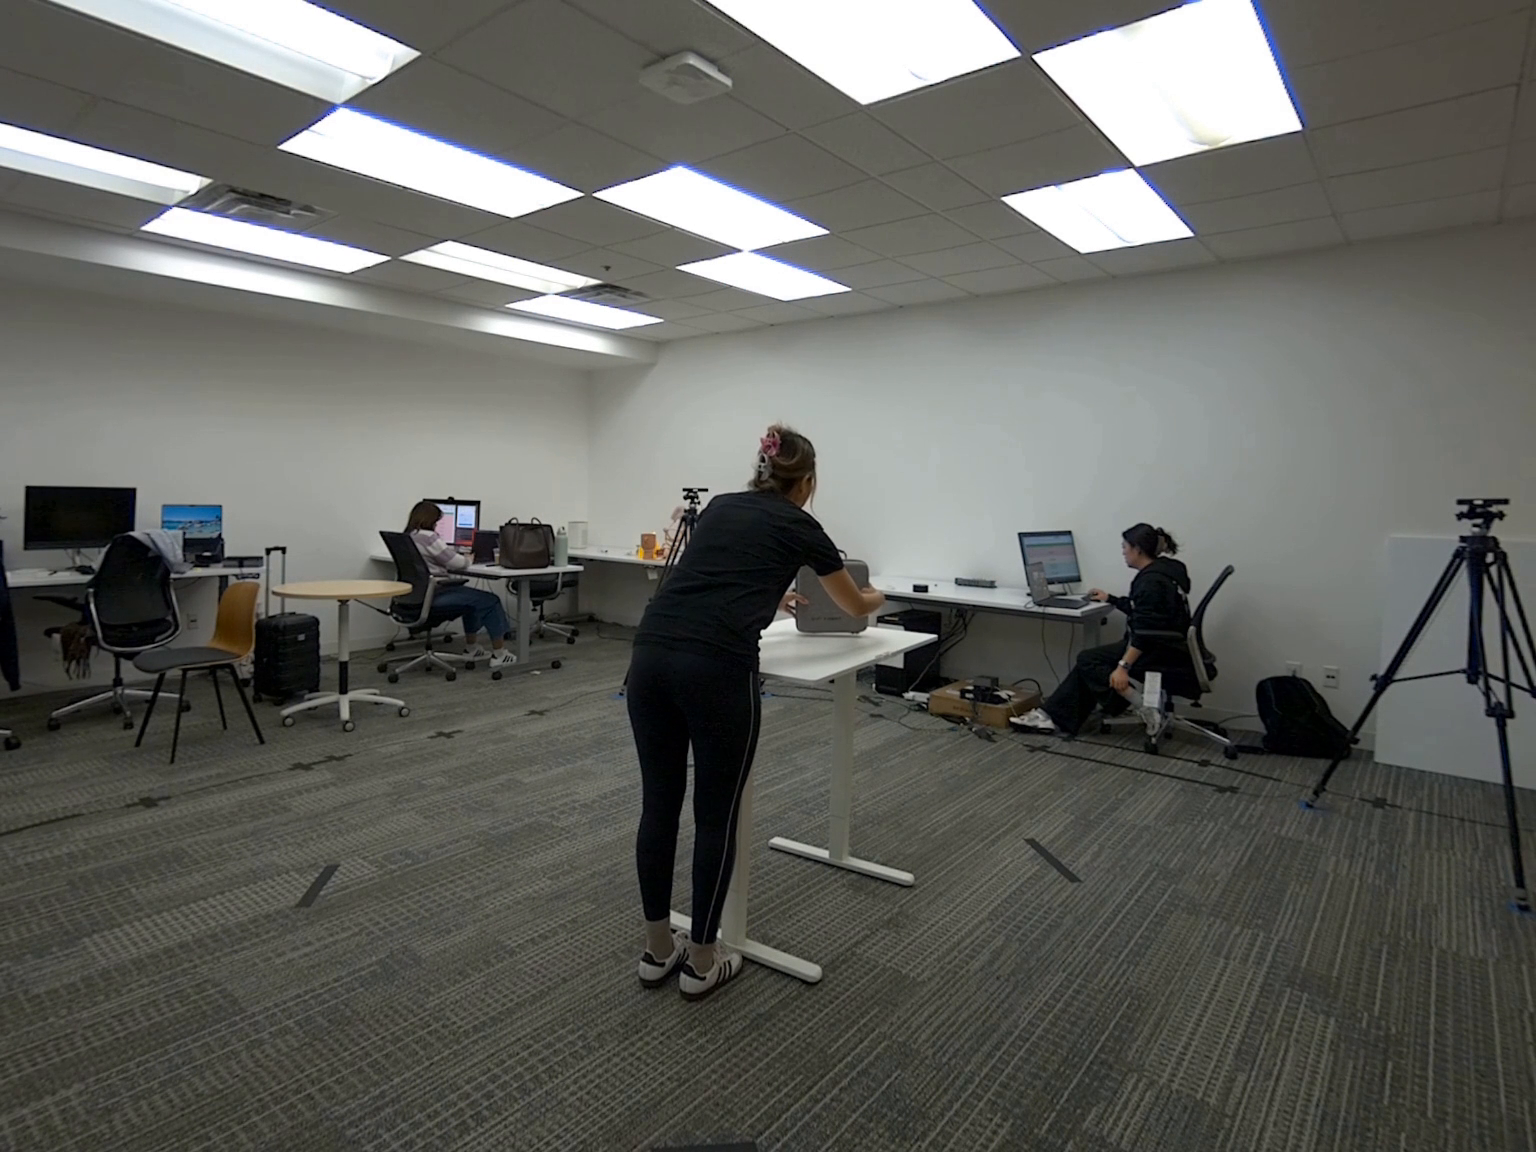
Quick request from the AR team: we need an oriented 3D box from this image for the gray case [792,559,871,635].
[{"bbox_3d":[0.213,0.062,3.008,0.254,0.260,0.105,0,3,-9],"label":"gray case"}]
